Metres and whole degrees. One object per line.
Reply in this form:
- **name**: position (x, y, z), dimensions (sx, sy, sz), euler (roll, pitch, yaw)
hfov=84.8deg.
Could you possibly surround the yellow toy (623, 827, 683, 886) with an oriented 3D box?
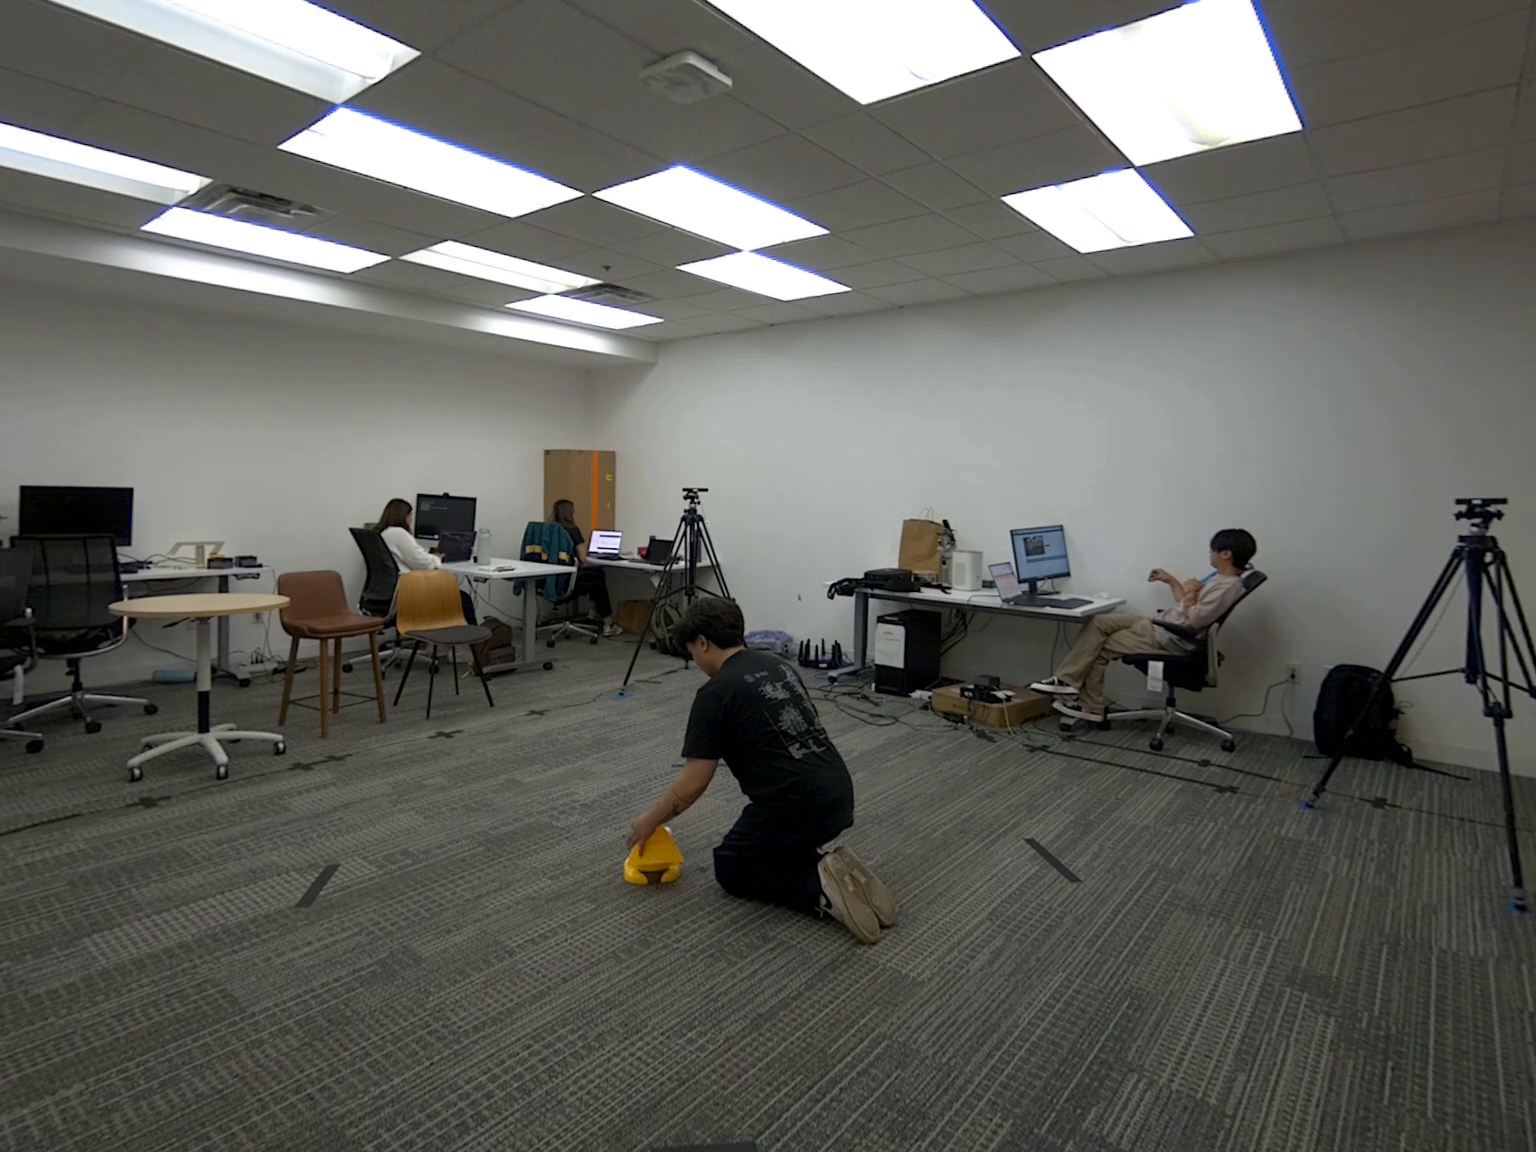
- **yellow toy**: position (-0.424, 0.962, 3.067), dimensions (0.202, 0.230, 0.195), euler (0, 1, -12)
